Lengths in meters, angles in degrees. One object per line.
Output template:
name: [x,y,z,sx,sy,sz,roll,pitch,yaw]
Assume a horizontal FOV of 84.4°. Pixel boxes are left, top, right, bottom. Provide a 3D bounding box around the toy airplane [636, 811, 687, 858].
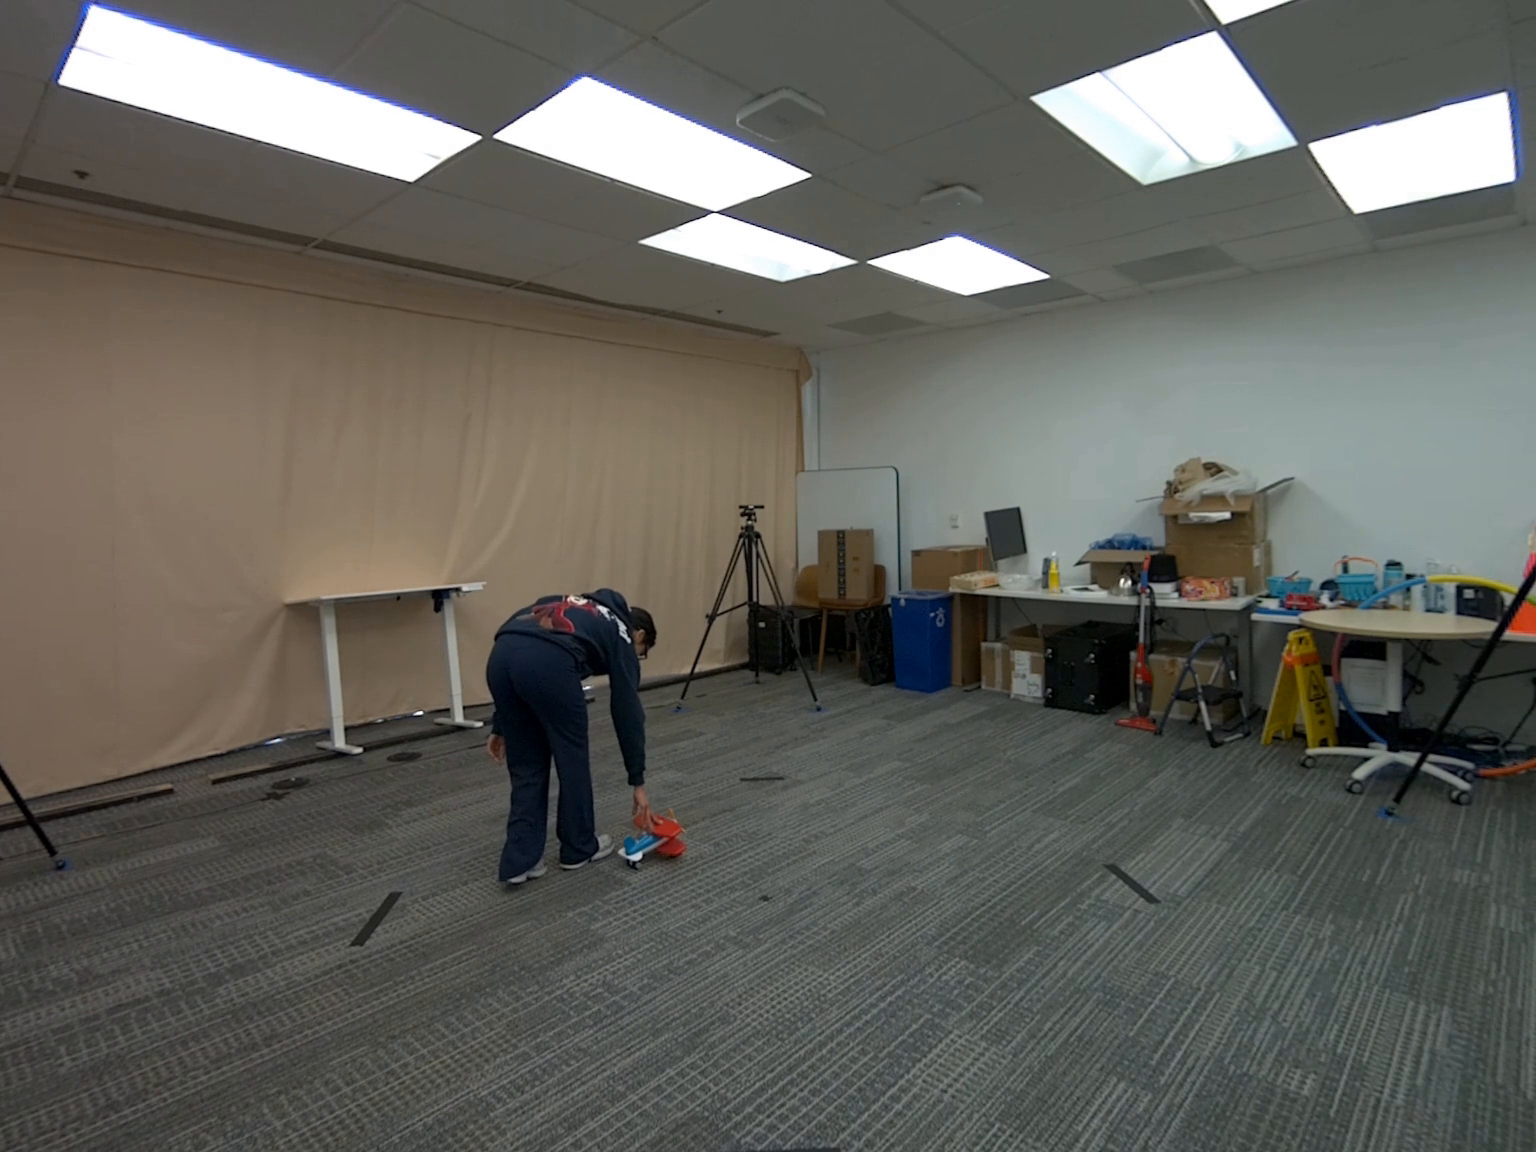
toy airplane: [-0.446,1.053,3.305,0.256,0.156,0.254,0,2,17]
